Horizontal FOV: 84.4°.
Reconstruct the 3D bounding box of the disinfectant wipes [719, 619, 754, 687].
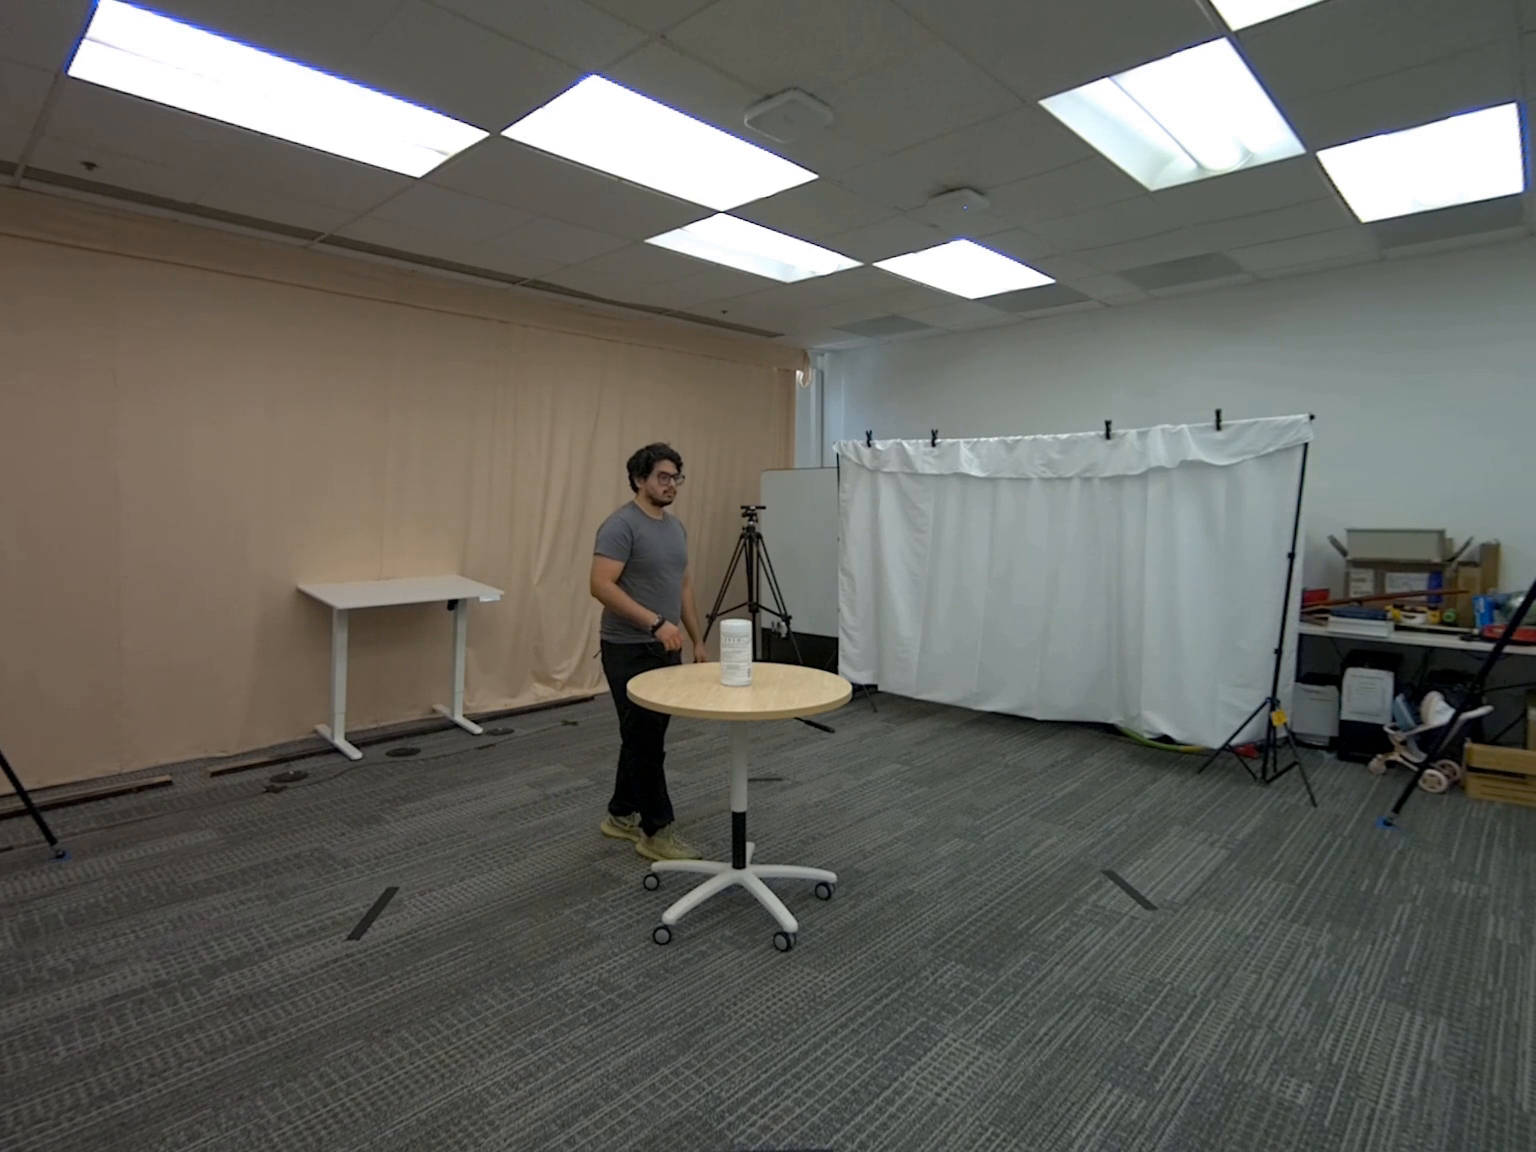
[{"bbox_3d":[-0.102,0.264,2.880,0.118,0.217,0.118,1,2,-2],"label":"disinfectant wipes"}]
